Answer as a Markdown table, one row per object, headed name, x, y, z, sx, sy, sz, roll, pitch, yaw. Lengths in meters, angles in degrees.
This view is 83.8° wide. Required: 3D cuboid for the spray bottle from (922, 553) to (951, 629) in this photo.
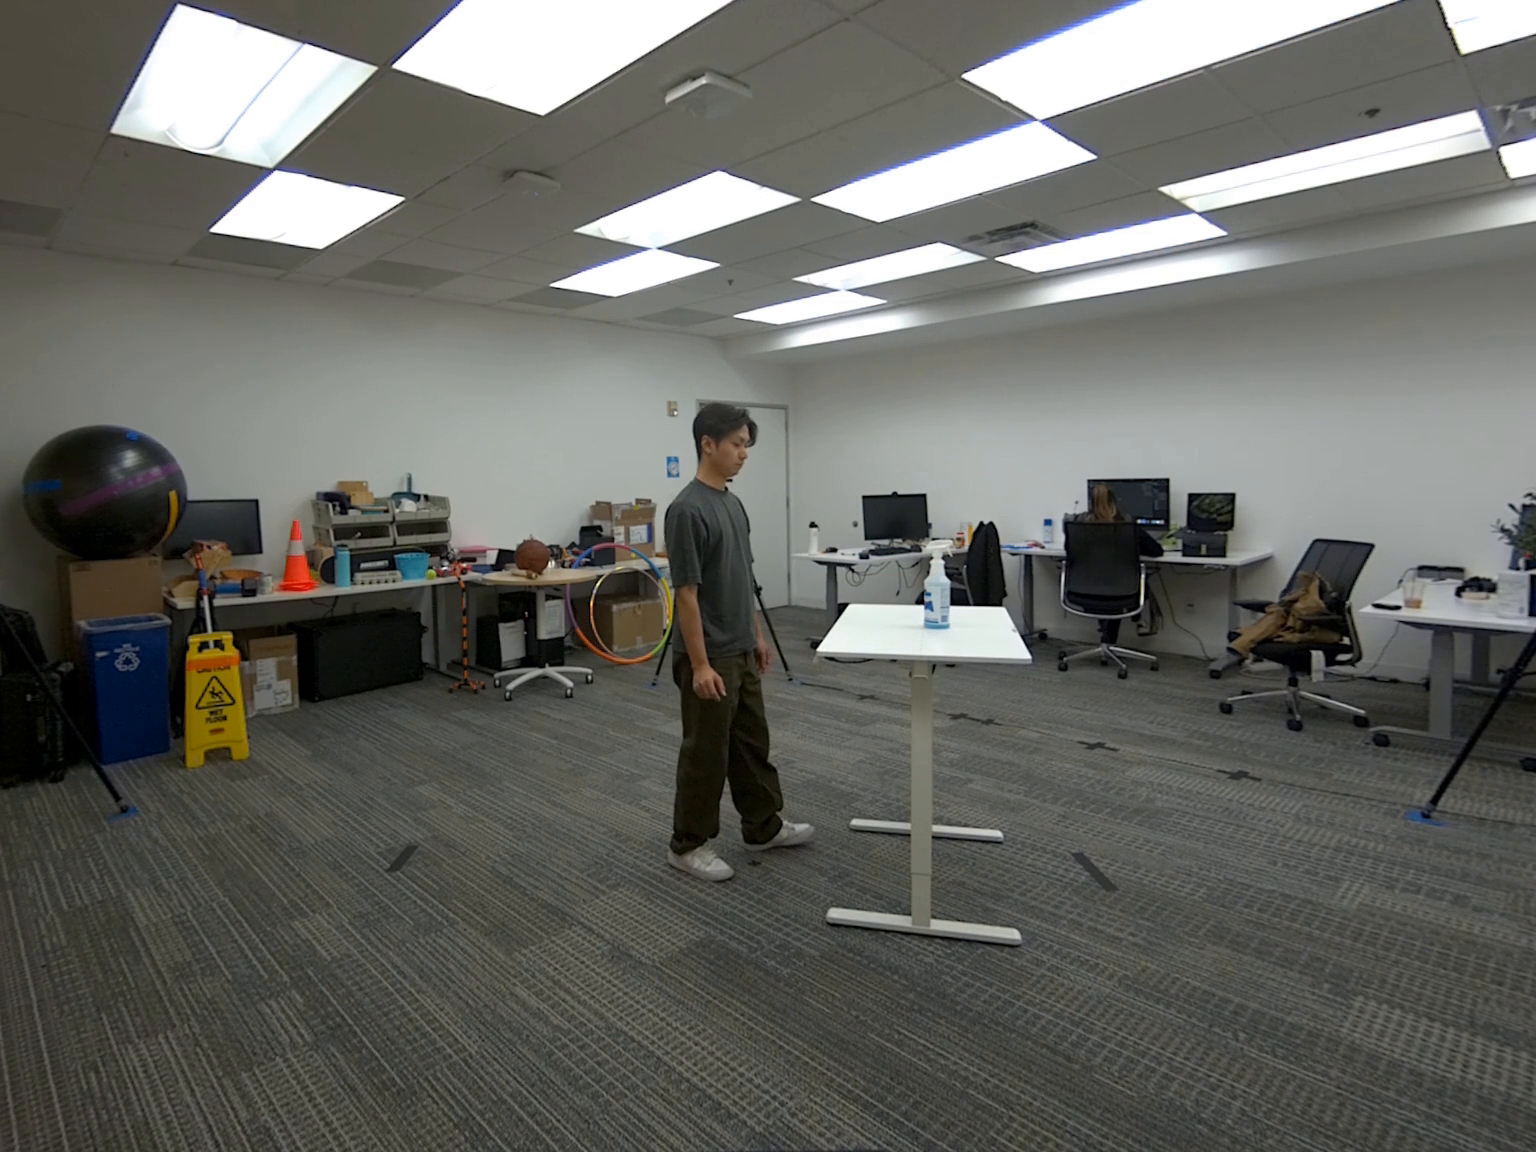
| name | x | y | z | sx | sy | sz | roll | pitch | yaw |
| --- | --- | --- | --- | --- | --- | --- | --- | --- | --- |
| spray bottle | 0.574 | 0.029 | 2.894 | 0.092 | 0.297 | 0.084 | 1 | 1 | 38 |
